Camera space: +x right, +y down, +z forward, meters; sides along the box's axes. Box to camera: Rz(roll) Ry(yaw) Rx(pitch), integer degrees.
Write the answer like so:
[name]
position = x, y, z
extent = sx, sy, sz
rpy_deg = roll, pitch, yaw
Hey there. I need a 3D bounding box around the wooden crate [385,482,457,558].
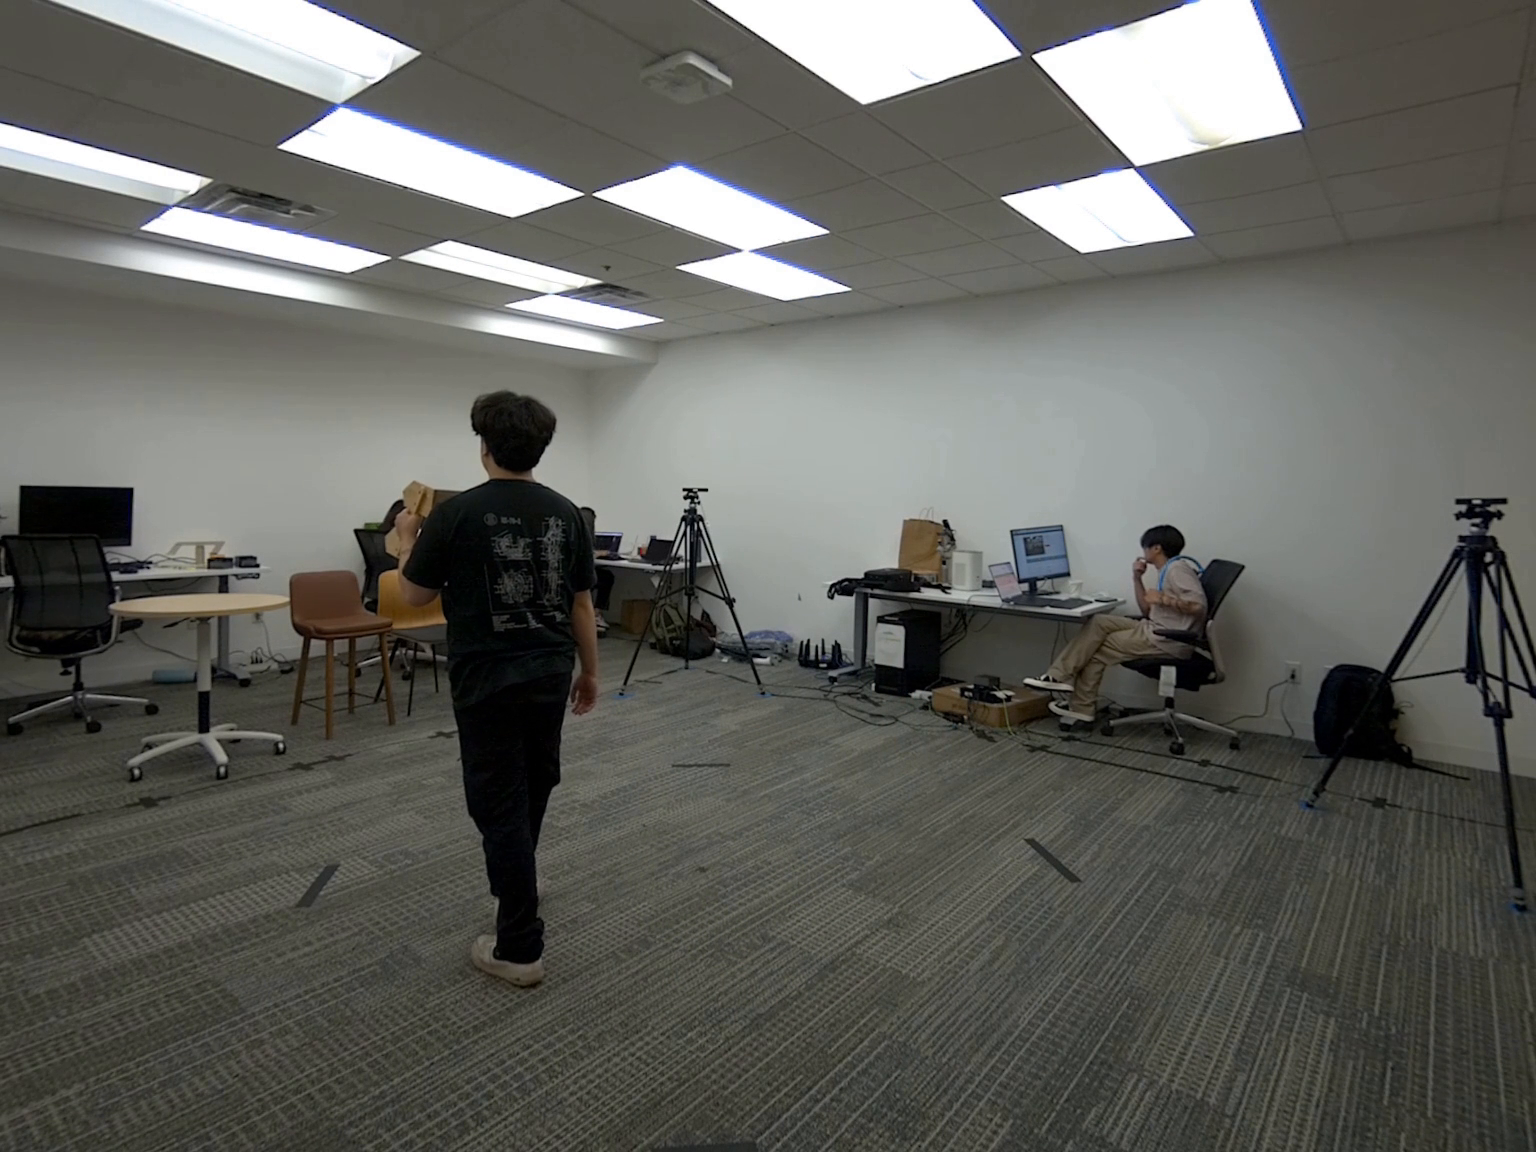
[wooden crate]
position = -1.053, -0.182, 2.799
extent = 0.314, 0.271, 0.314
rpy_deg = 19, 13, 42
